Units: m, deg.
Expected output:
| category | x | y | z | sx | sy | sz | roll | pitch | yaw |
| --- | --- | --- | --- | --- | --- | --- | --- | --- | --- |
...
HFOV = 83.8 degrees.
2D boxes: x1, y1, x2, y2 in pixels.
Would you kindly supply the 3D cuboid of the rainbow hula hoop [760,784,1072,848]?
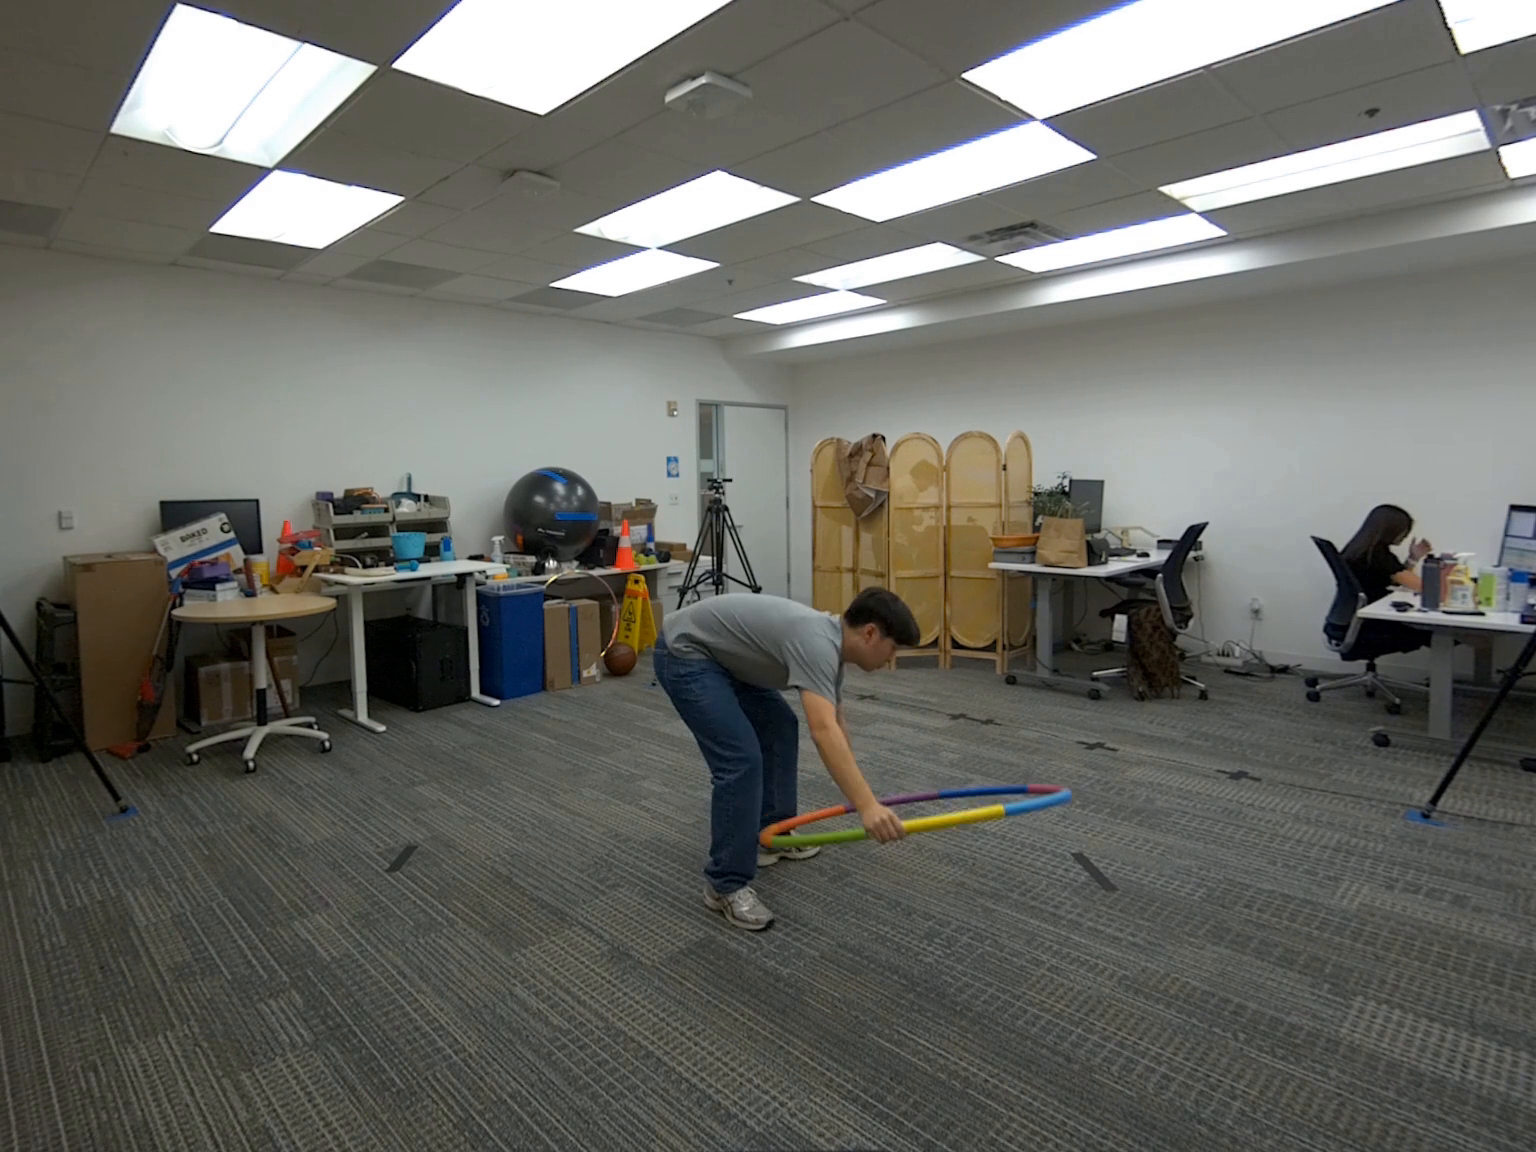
| category | x | y | z | sx | sy | sz | roll | pitch | yaw |
| --- | --- | --- | --- | --- | --- | --- | --- | --- | --- |
| rainbow hula hoop | 0.463 | 0.758 | 2.758 | 0.976 | 0.036 | 0.967 | -9 | -11 | -4 |
